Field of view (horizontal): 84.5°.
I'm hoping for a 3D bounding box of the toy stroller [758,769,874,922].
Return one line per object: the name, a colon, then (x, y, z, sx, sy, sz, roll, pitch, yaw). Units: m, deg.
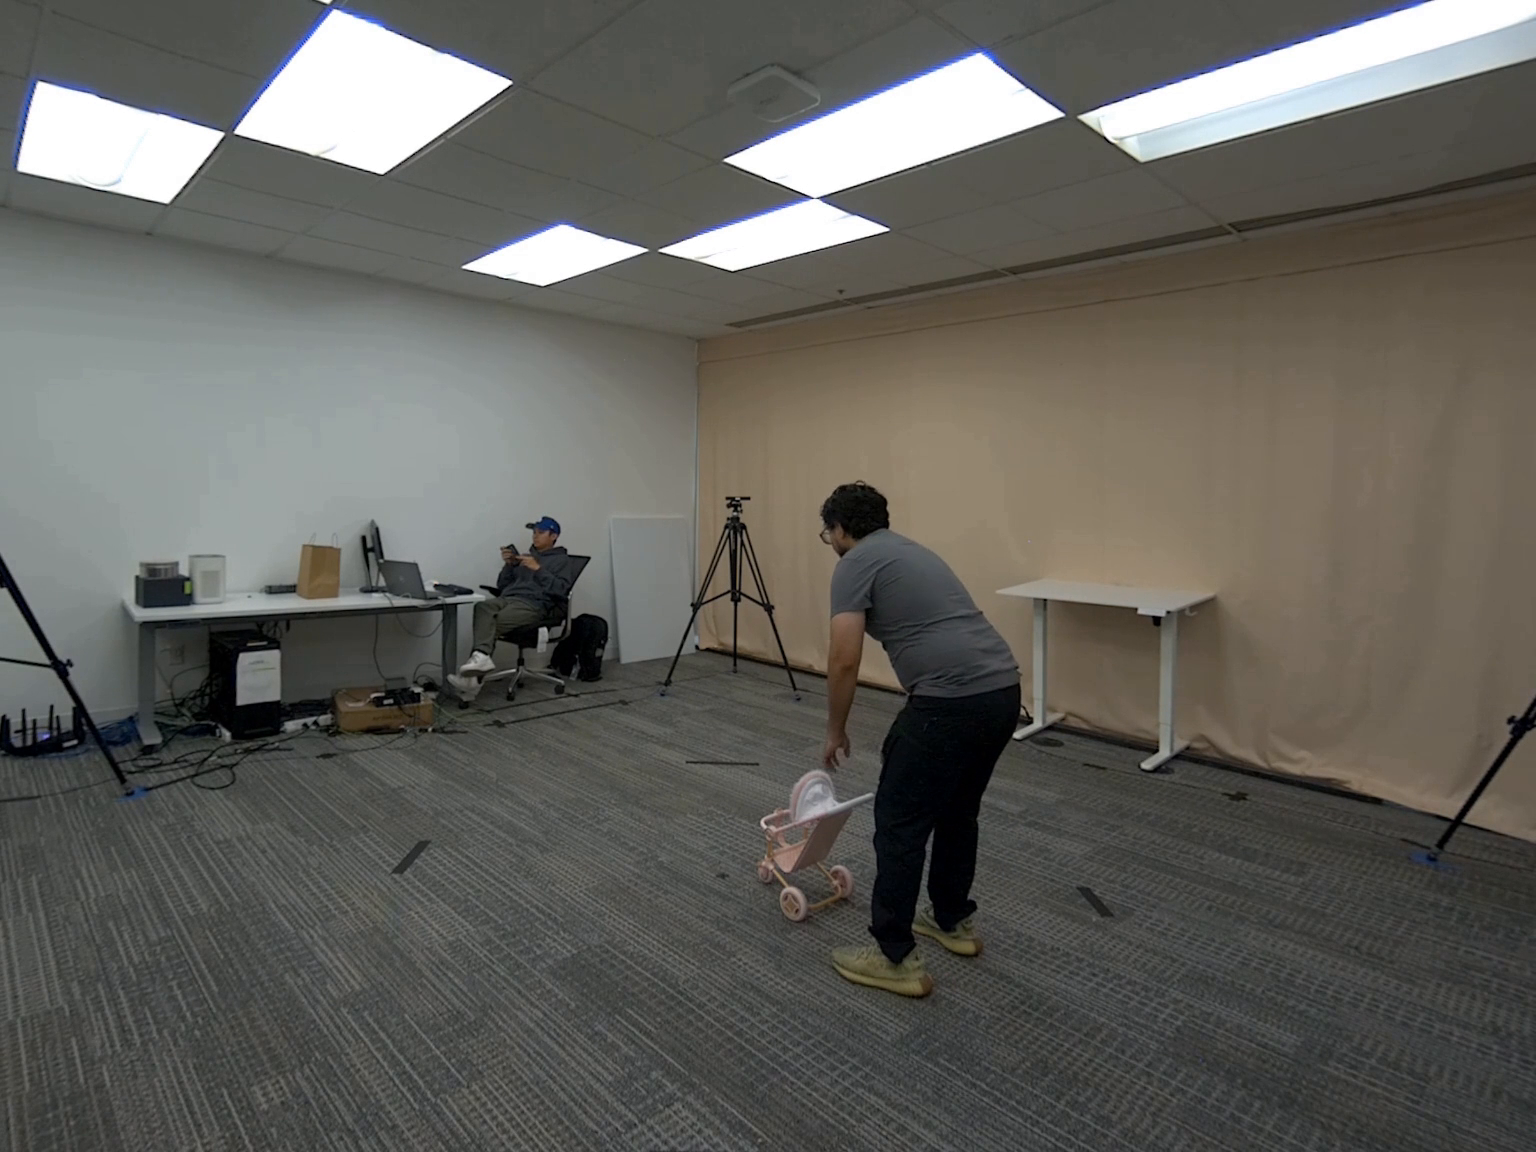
toy stroller: (0.129, 0.908, 2.907, 0.275, 0.530, 0.352, -1, 21, -40)
